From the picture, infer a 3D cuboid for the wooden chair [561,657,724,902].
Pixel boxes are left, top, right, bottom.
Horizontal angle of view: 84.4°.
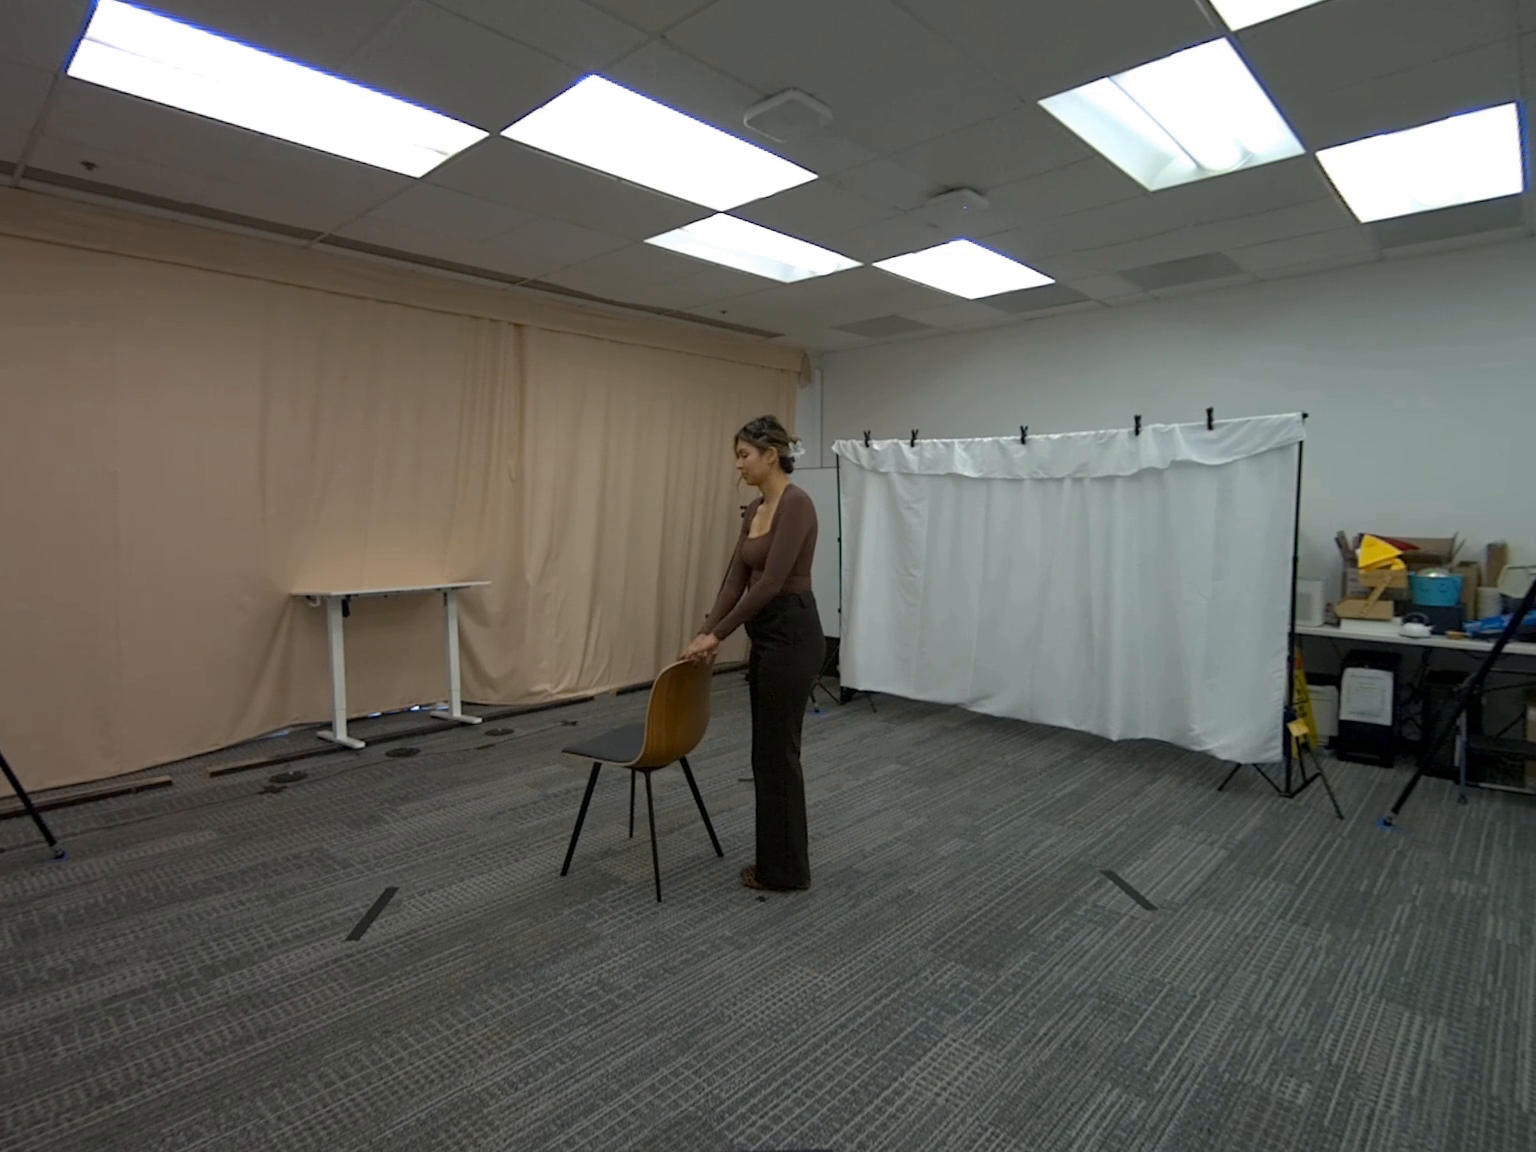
[{"bbox_3d":[-0.488,0.699,3.242,0.538,0.874,0.466,6,6,28],"label":"wooden chair"}]
